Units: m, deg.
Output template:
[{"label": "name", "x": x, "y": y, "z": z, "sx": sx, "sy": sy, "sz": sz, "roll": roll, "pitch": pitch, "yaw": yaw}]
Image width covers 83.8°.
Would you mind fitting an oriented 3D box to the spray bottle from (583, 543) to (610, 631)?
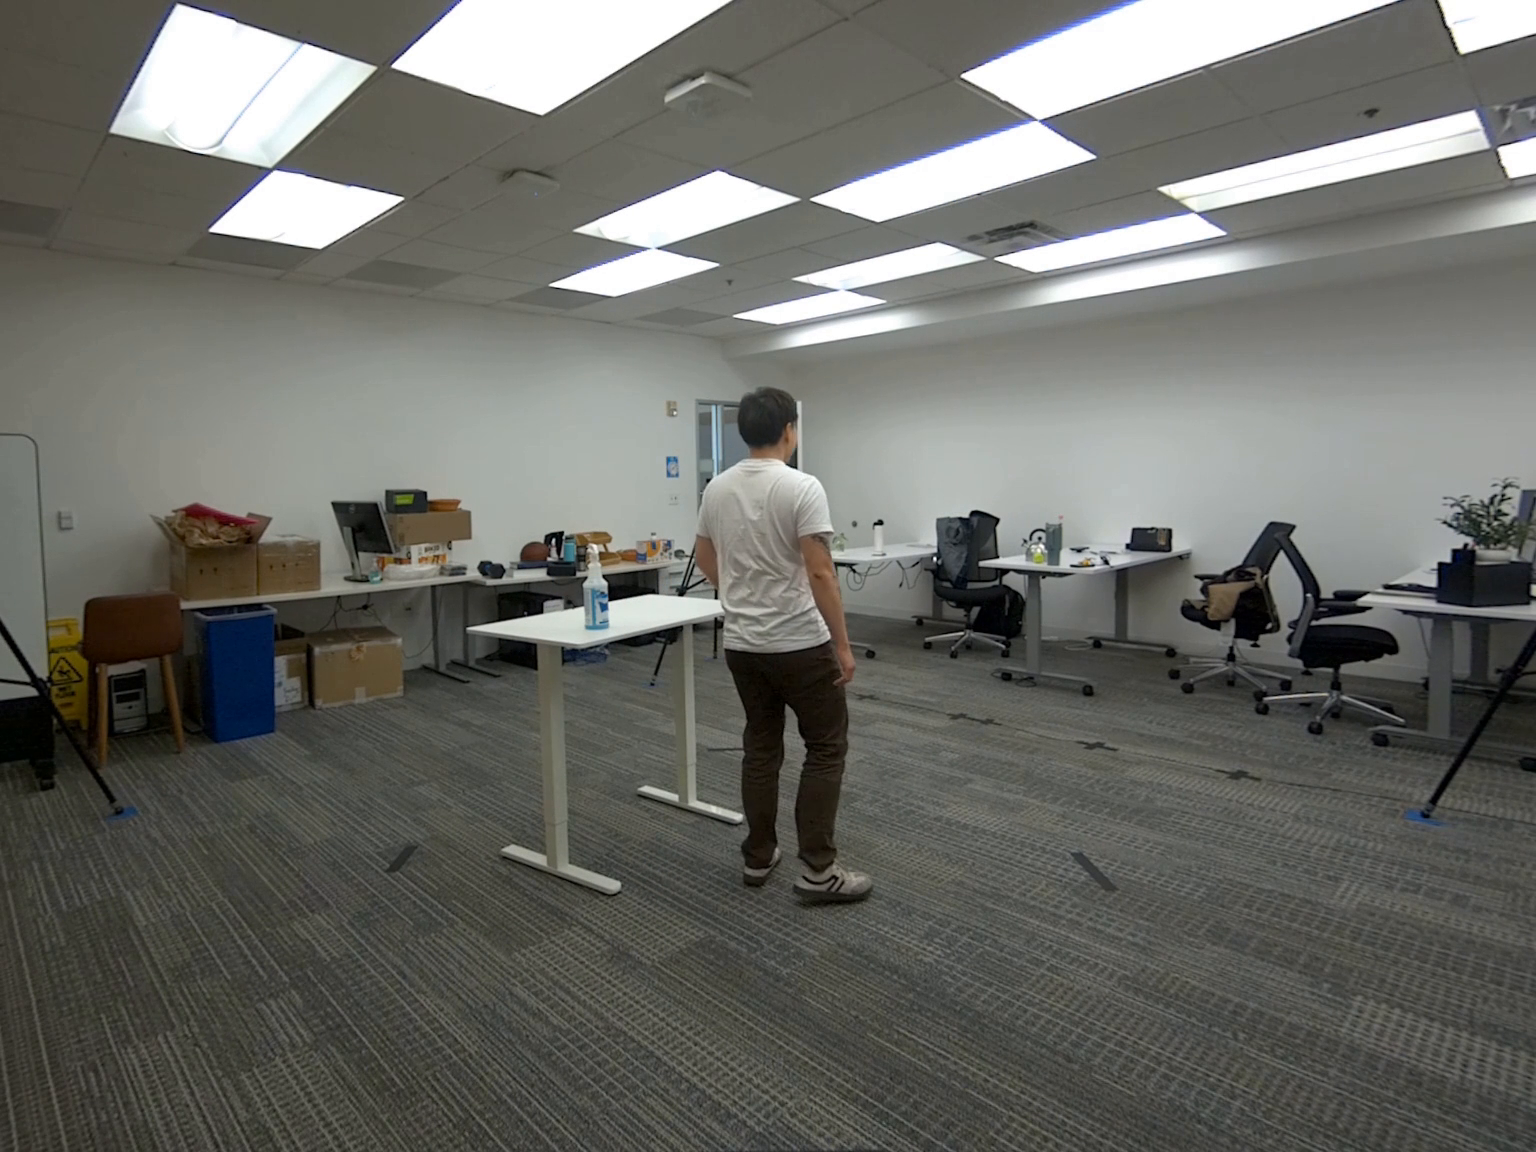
[{"label": "spray bottle", "x": -0.608, "y": 0.037, "z": 3.018, "sx": 0.087, "sy": 0.297, "sz": 0.090, "roll": -1, "pitch": 2, "yaw": 3}]
